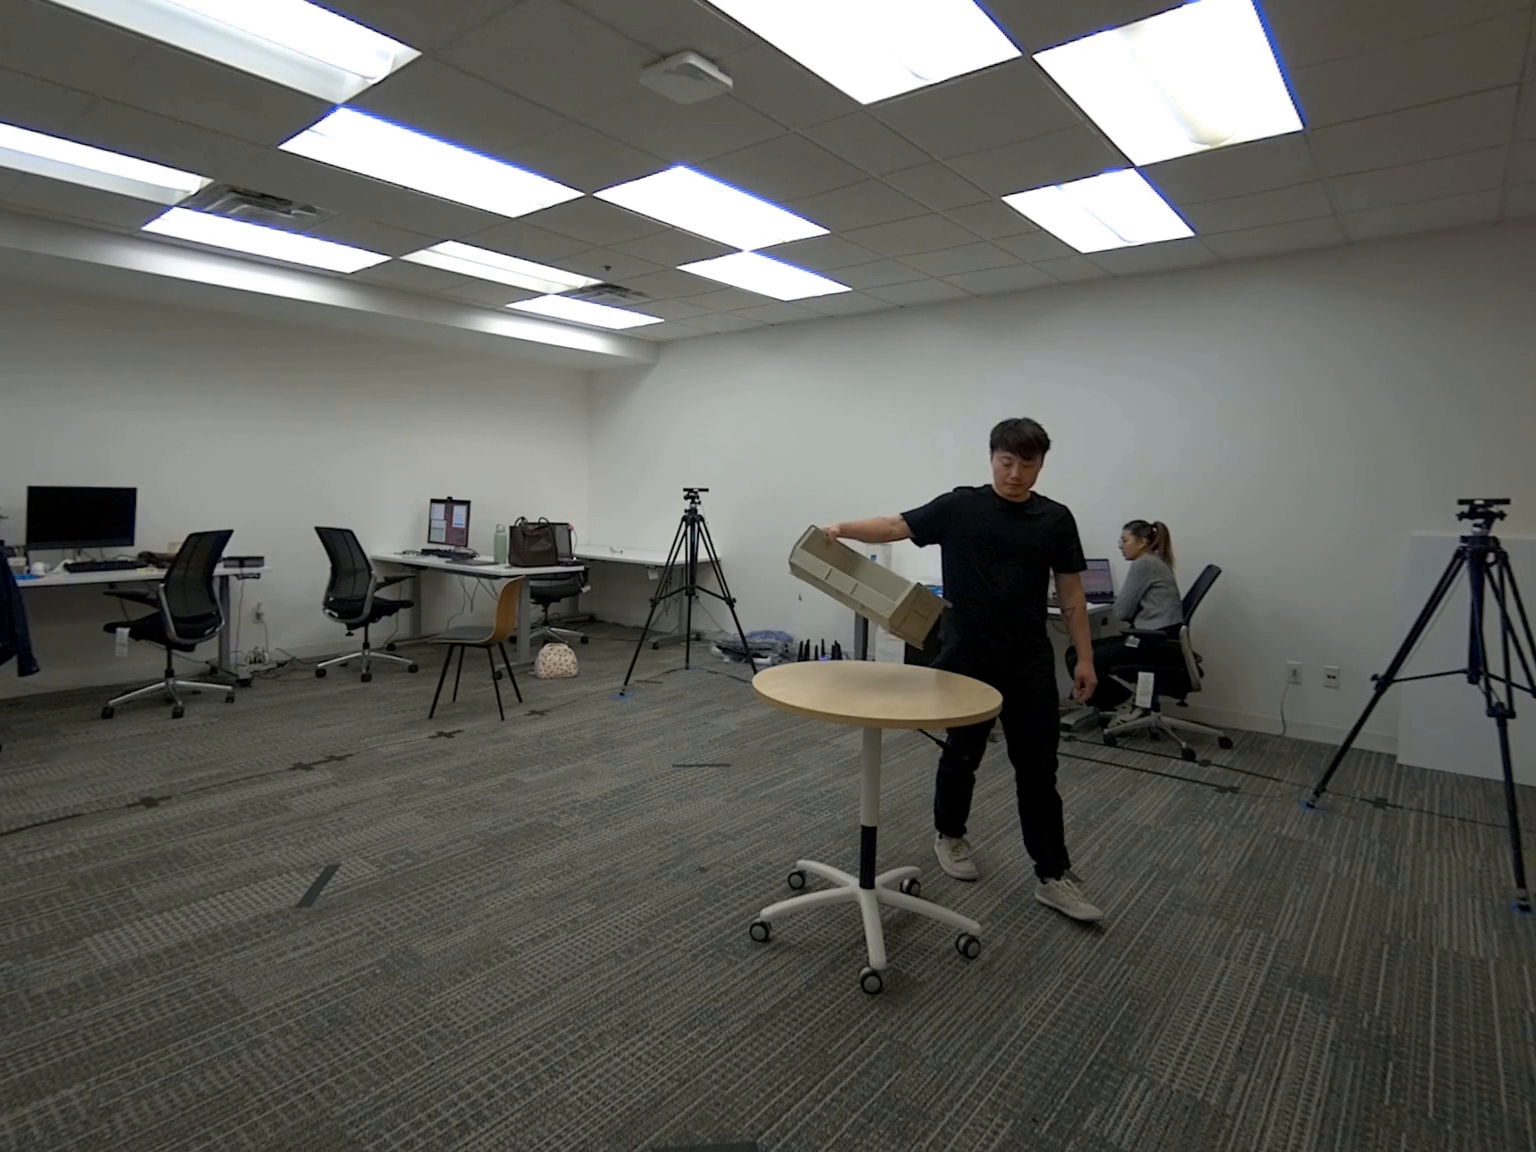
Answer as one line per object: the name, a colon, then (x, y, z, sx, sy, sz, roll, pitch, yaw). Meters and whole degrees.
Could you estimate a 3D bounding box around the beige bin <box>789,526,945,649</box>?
beige bin: (0.319, 0.030, 2.801, 0.439, 0.189, 0.363, 30, 2, 33)
